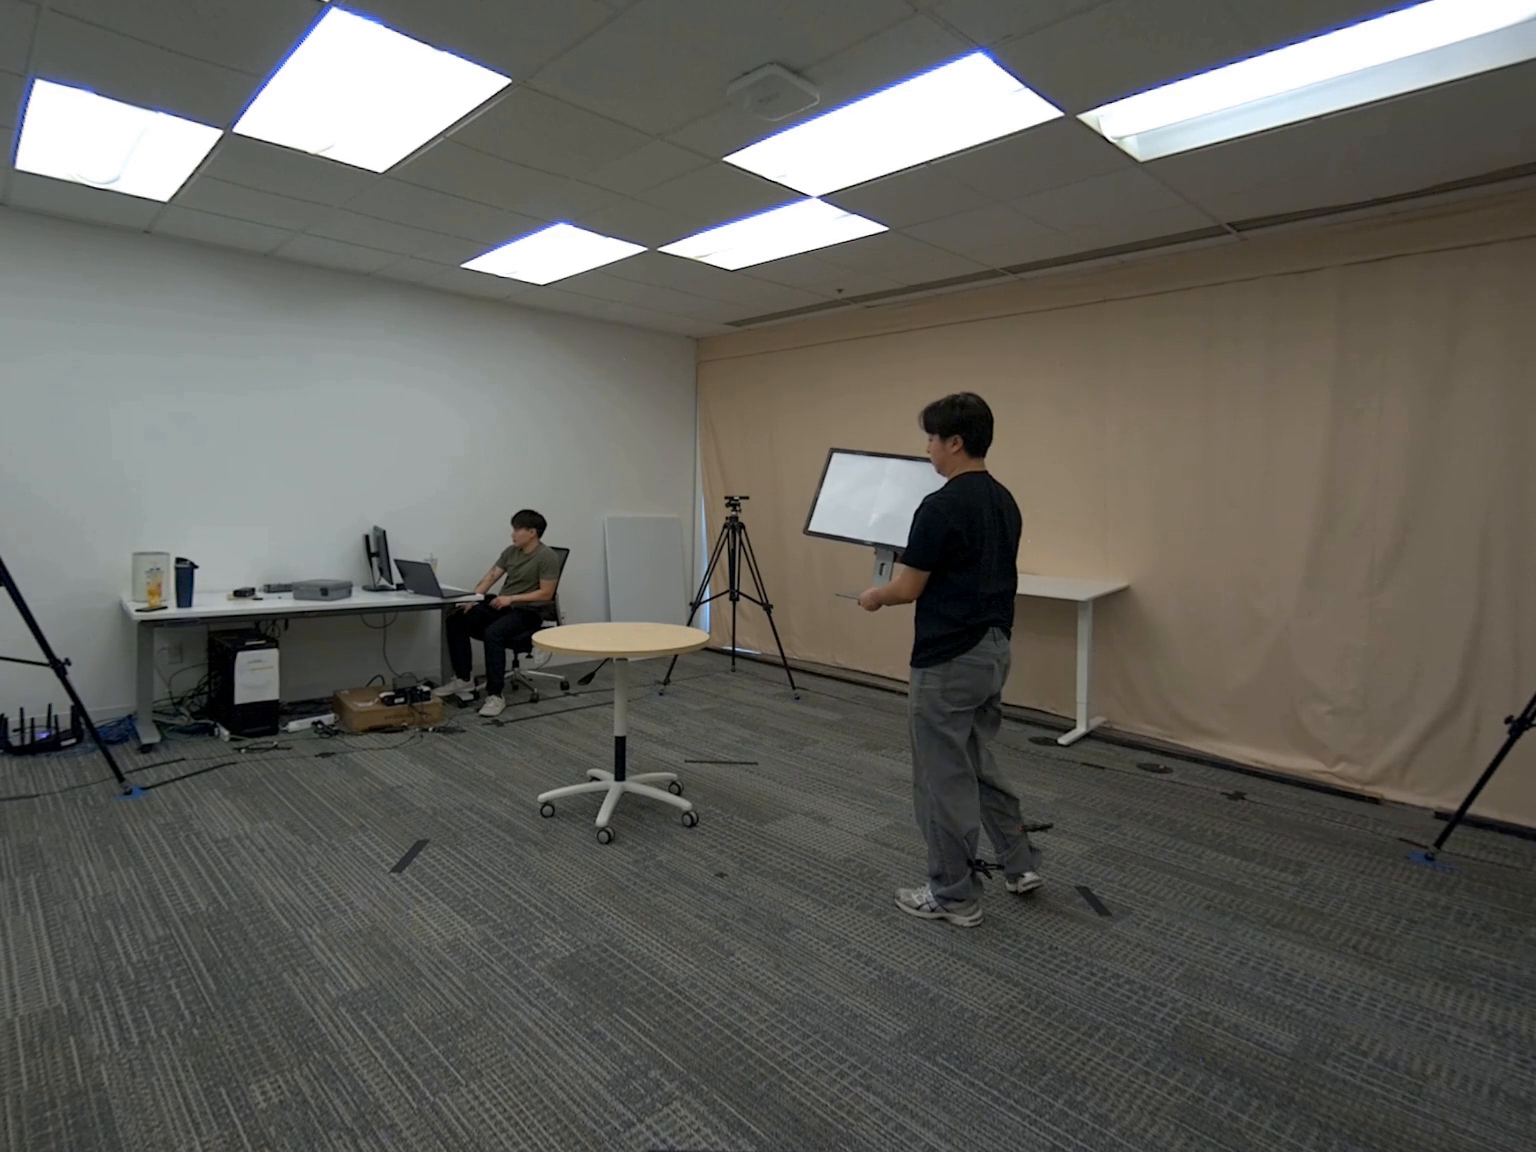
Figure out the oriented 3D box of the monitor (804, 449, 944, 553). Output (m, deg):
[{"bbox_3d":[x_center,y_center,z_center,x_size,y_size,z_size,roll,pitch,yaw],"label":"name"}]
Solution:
[{"bbox_3d":[0.419,-0.172,3.131,0.576,0.565,0.217,10,4,35],"label":"monitor"}]
